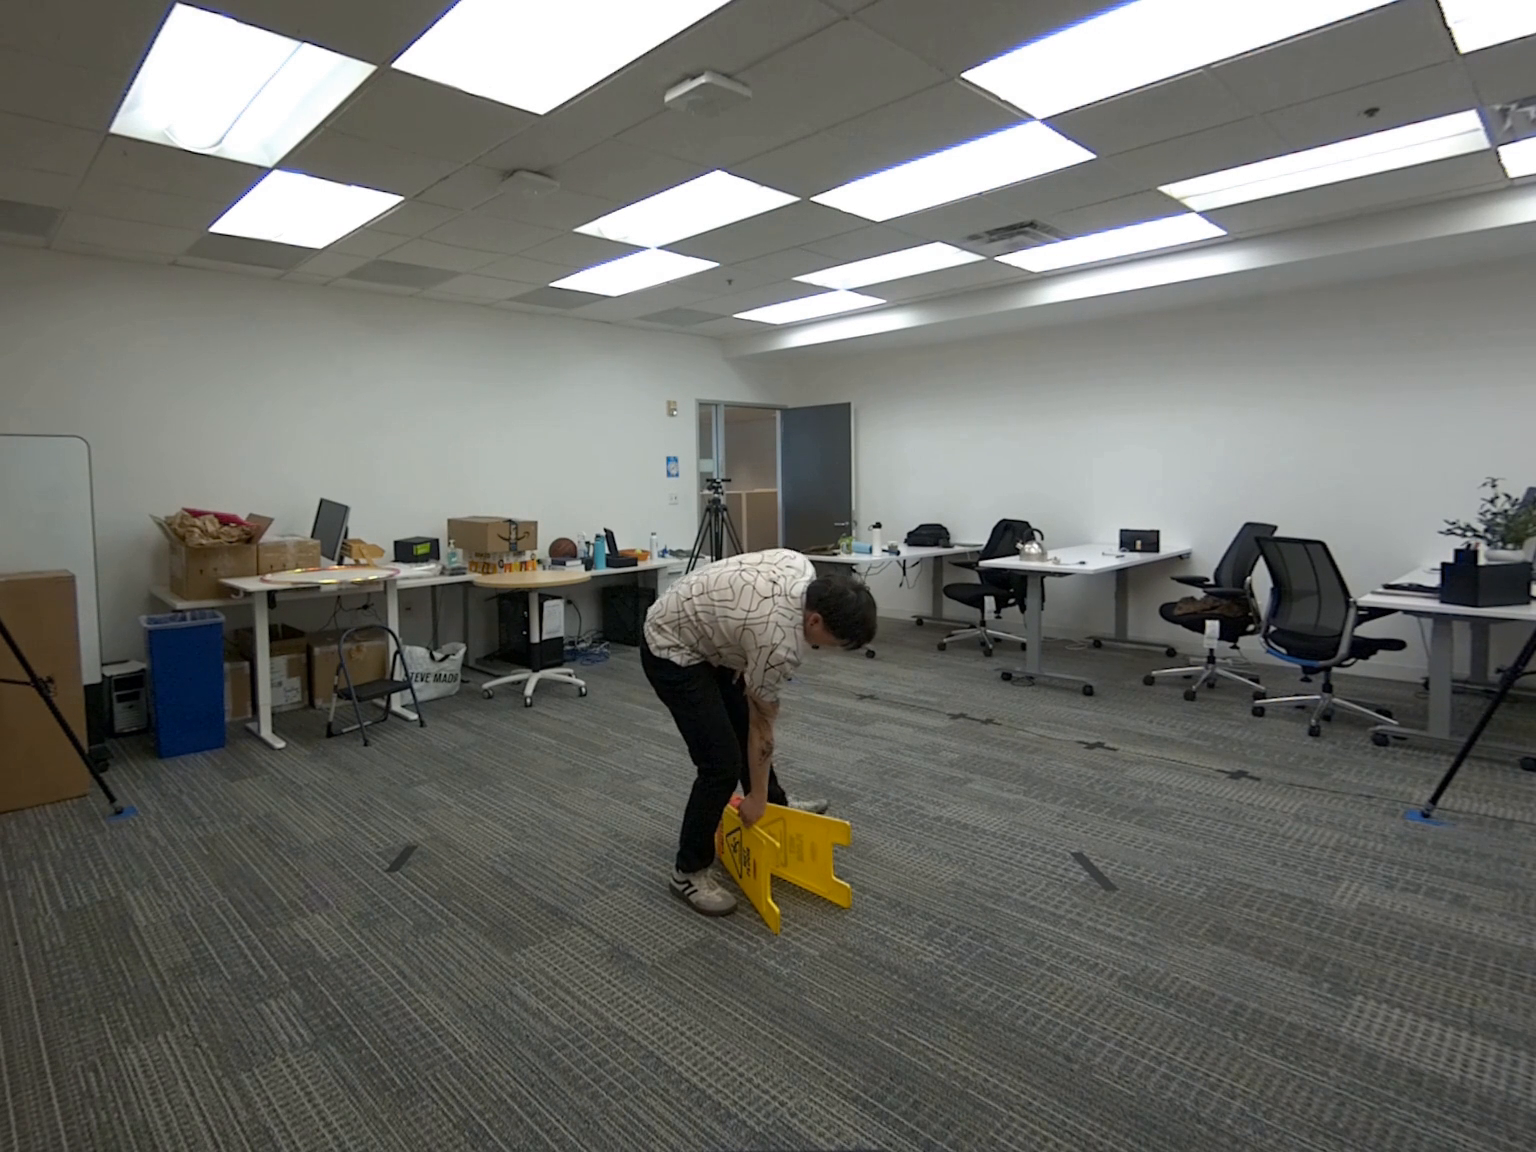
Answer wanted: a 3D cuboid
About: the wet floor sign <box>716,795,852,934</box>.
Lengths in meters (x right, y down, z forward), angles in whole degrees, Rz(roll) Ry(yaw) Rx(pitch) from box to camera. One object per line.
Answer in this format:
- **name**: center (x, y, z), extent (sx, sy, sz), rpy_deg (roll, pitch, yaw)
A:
- **wet floor sign**: center (-0.033, 0.933, 2.956), extent (0.282, 0.282, 0.664), rpy_deg (-2, 4, -34)
